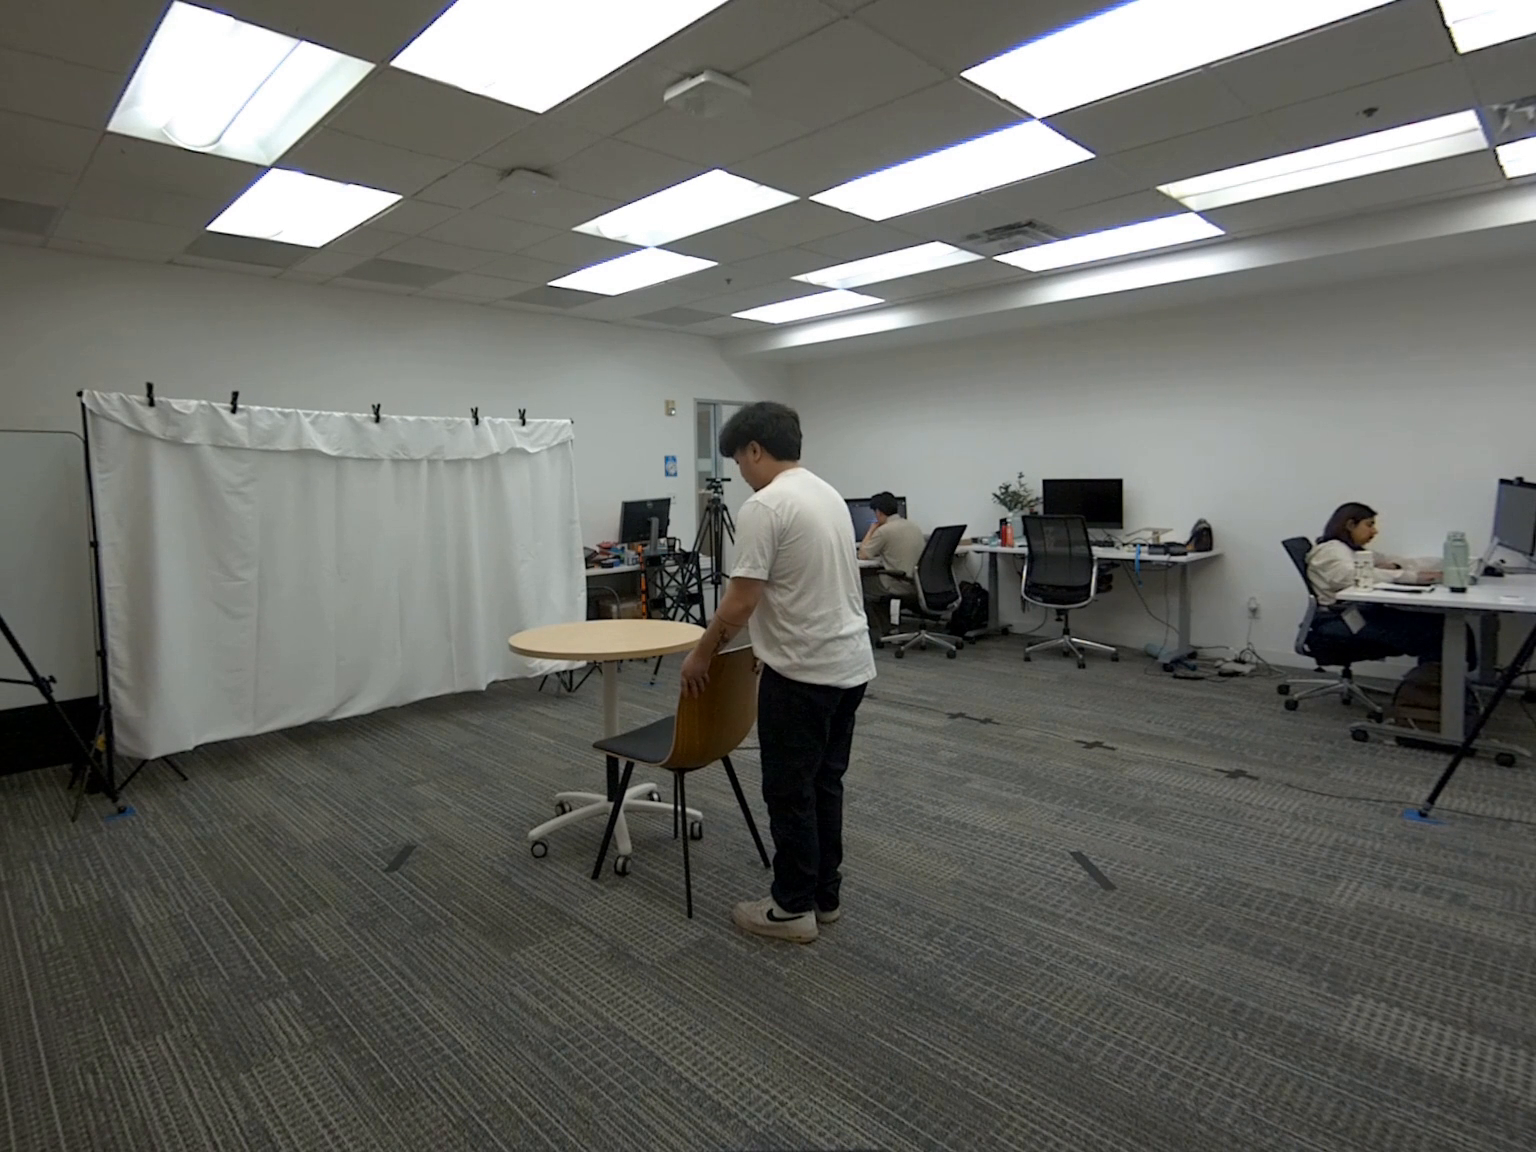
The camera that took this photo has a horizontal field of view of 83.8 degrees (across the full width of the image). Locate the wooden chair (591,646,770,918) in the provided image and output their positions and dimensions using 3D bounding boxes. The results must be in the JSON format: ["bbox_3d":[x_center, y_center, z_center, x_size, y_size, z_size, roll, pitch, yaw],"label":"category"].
[{"bbox_3d":[-0.311,0.631,3.003,0.539,0.872,0.466,7,9,37],"label":"wooden chair"}]
